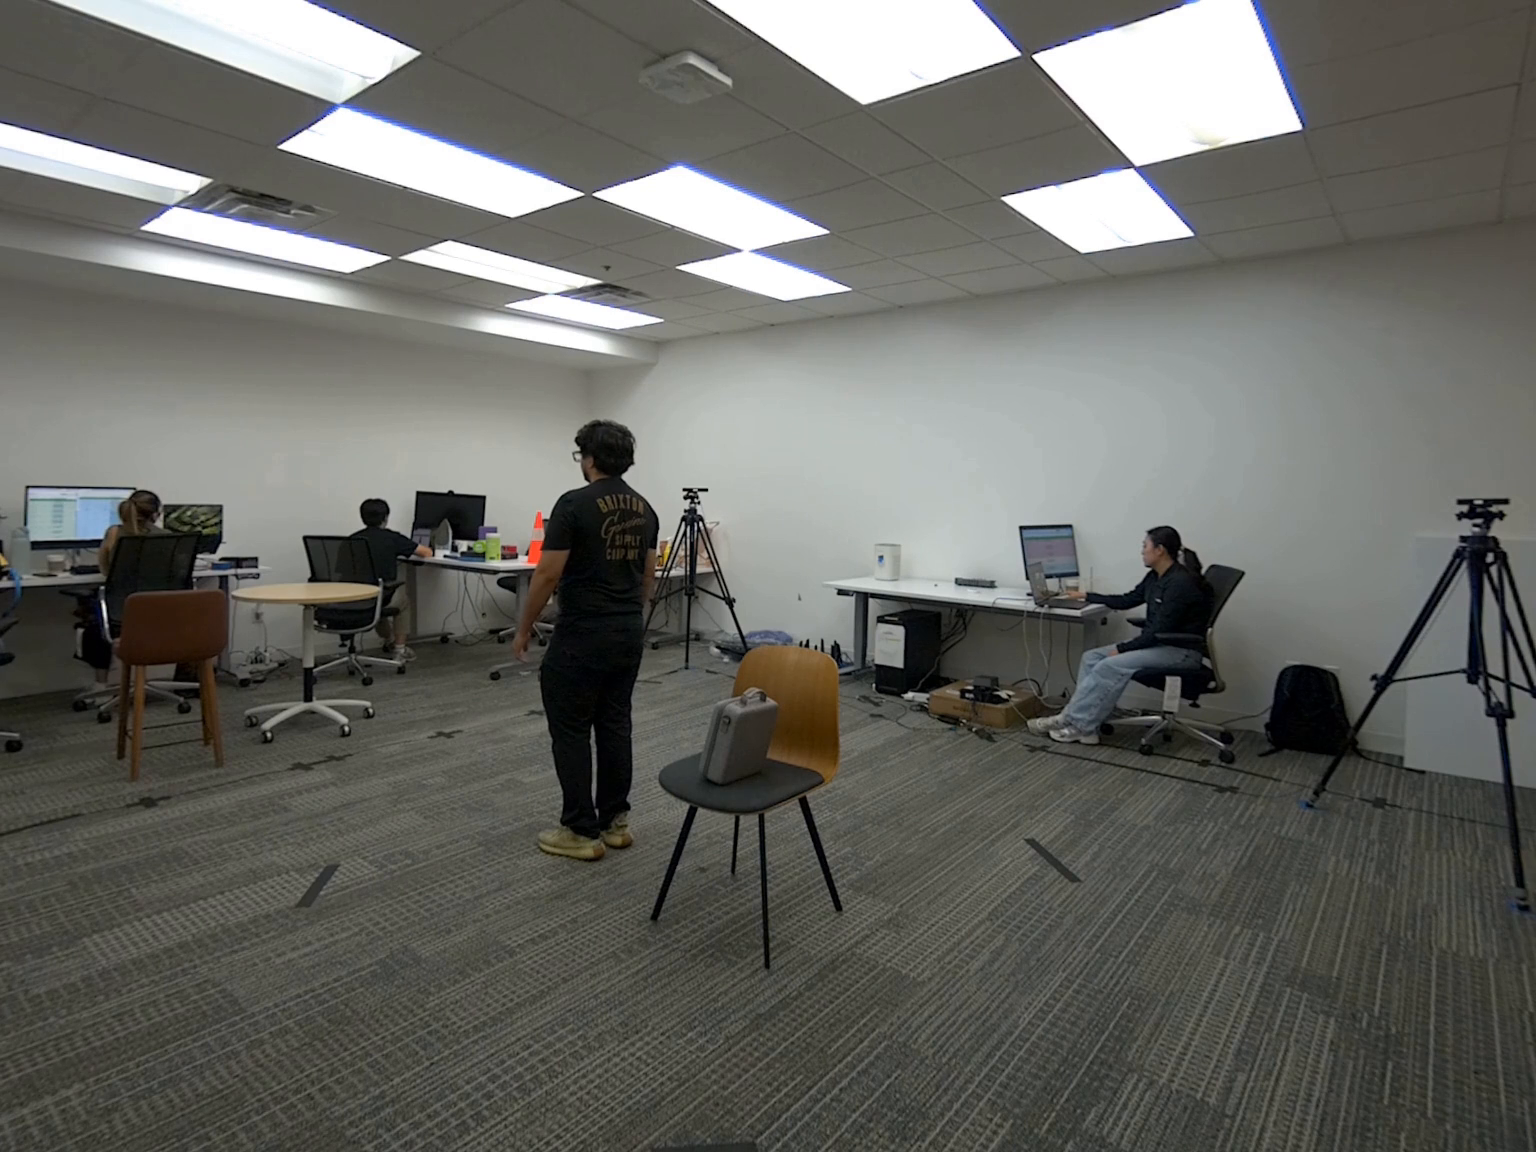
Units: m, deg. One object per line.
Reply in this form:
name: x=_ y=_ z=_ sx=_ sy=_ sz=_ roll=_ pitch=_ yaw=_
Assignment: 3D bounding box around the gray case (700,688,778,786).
gray case: x=-0.099 y=0.506 z=2.700 sx=0.108 sy=0.259 sz=0.249 roll=17 pitch=9 yaw=34
